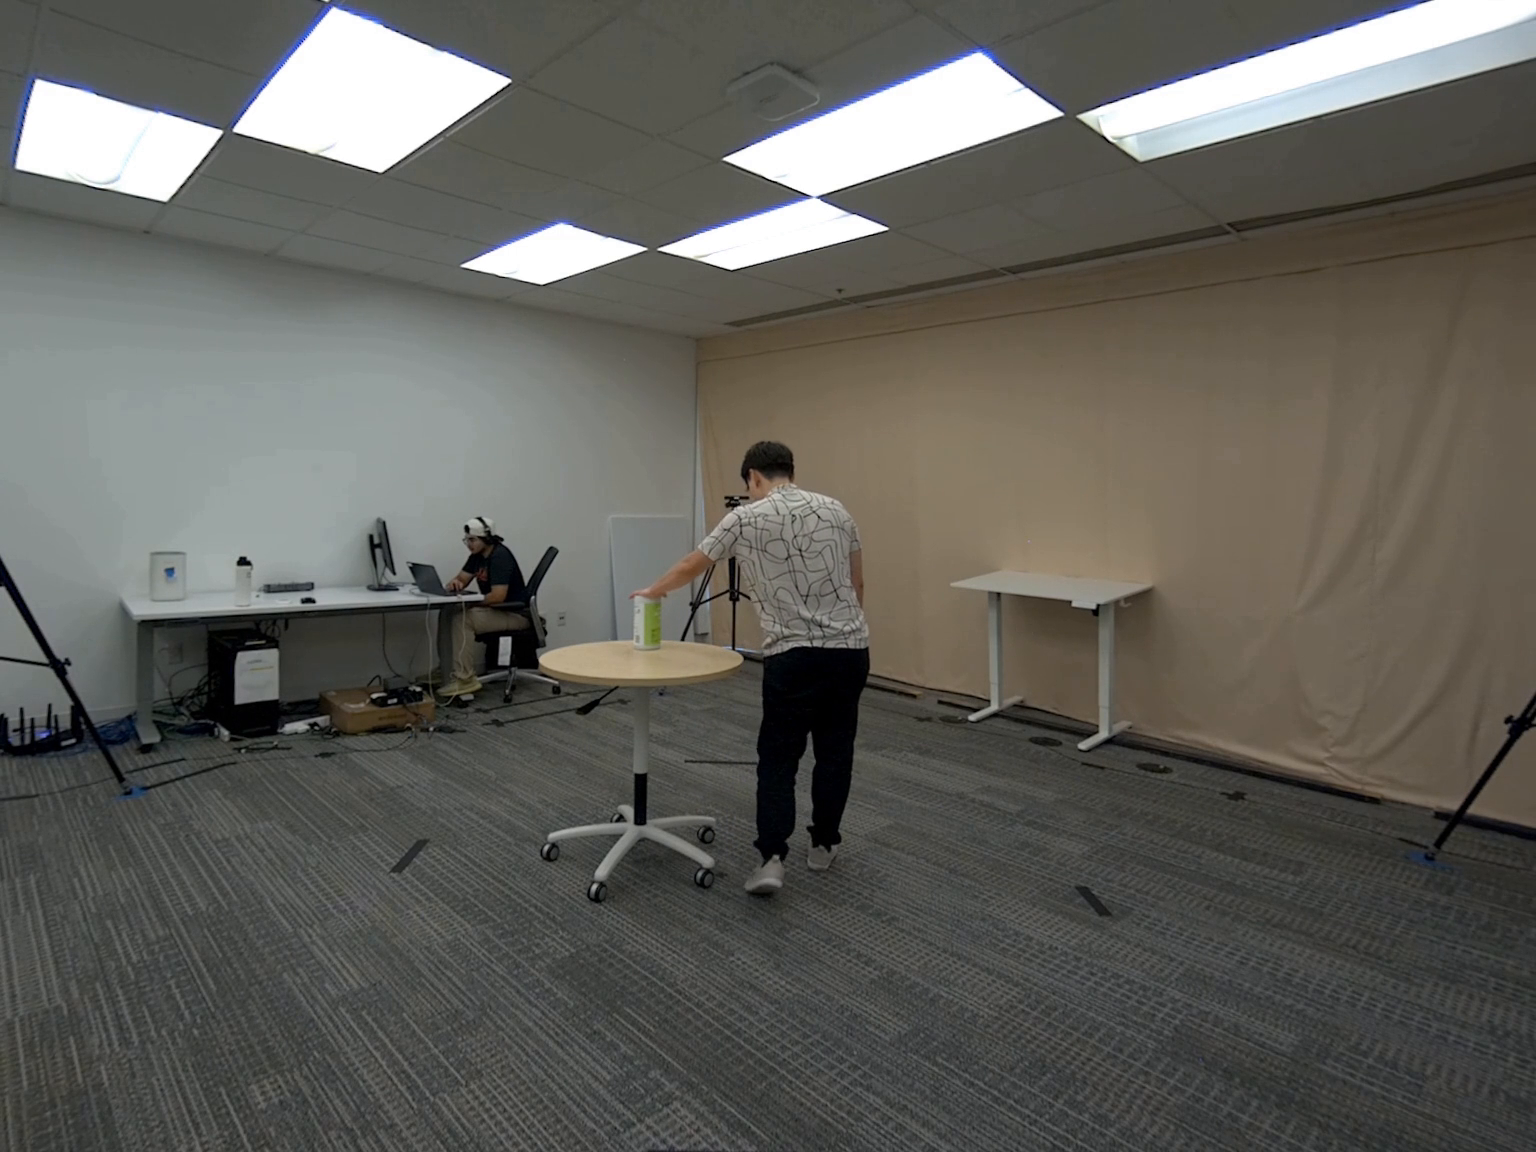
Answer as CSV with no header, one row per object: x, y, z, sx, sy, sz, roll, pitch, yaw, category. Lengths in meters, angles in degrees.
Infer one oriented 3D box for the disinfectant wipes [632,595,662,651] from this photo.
-0.489,0.184,3.377,0.118,0.217,0.118,1,2,-1,disinfectant wipes
